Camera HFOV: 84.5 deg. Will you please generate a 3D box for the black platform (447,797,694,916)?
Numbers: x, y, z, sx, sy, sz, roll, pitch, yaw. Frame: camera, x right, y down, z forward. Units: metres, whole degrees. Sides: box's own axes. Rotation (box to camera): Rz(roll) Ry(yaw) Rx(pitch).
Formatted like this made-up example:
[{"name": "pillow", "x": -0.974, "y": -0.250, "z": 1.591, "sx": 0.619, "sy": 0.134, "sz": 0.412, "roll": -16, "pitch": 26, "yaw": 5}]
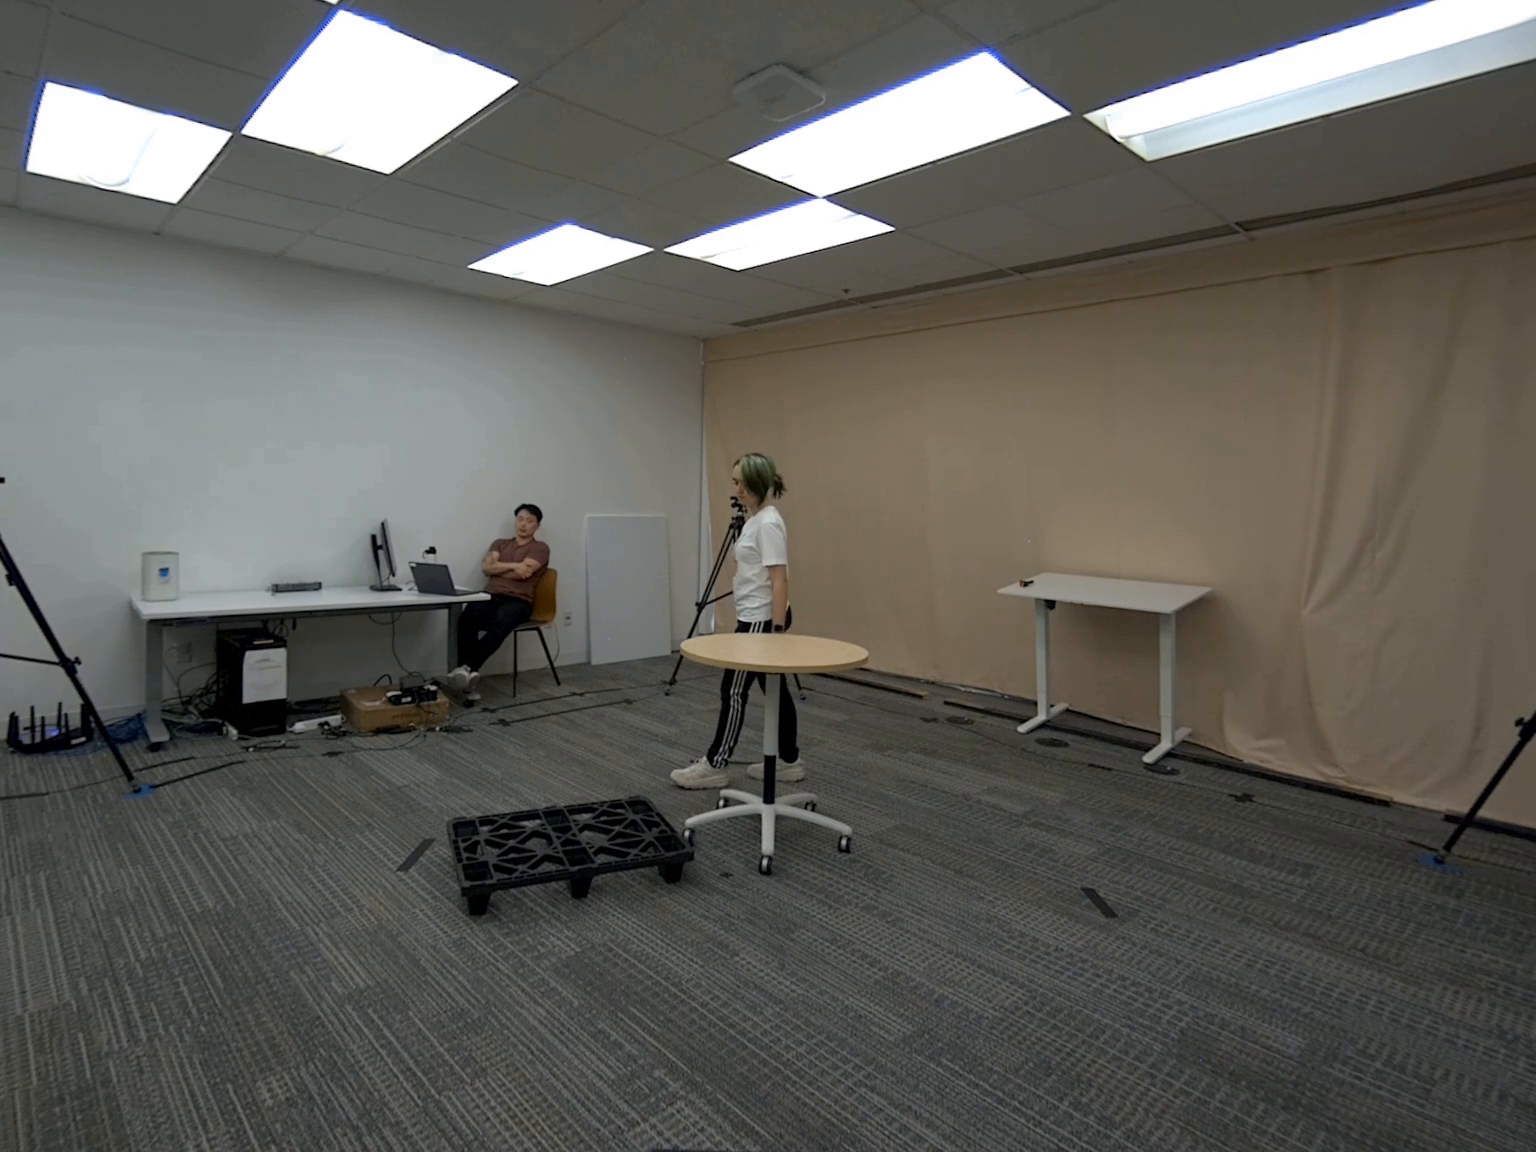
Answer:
[{"name": "black platform", "x": -0.757, "y": 1.022, "z": 3.112, "sx": 0.791, "sy": 0.143, "sz": 0.617, "roll": -1, "pitch": 5, "yaw": -24}]
